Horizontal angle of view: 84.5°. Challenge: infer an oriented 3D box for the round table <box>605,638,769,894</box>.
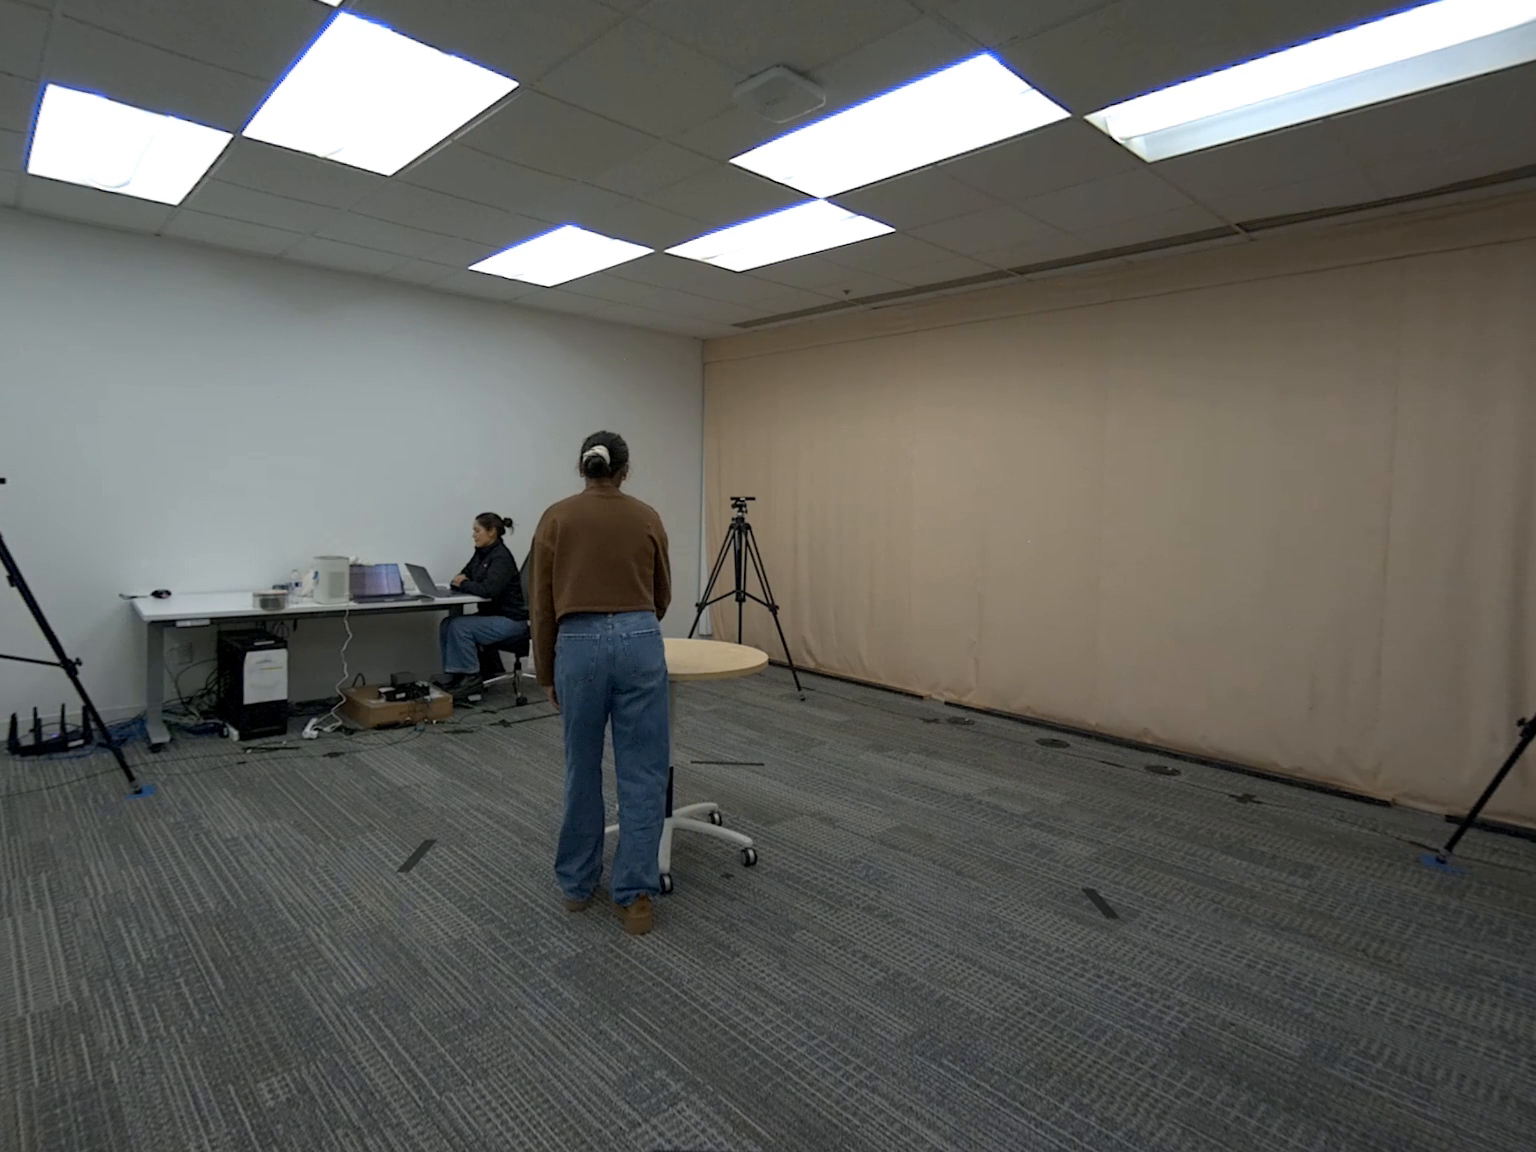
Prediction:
[{"bbox_3d":[-0.400,0.697,3.294,0.763,0.792,0.766,1,4,-1],"label":"round table"}]
